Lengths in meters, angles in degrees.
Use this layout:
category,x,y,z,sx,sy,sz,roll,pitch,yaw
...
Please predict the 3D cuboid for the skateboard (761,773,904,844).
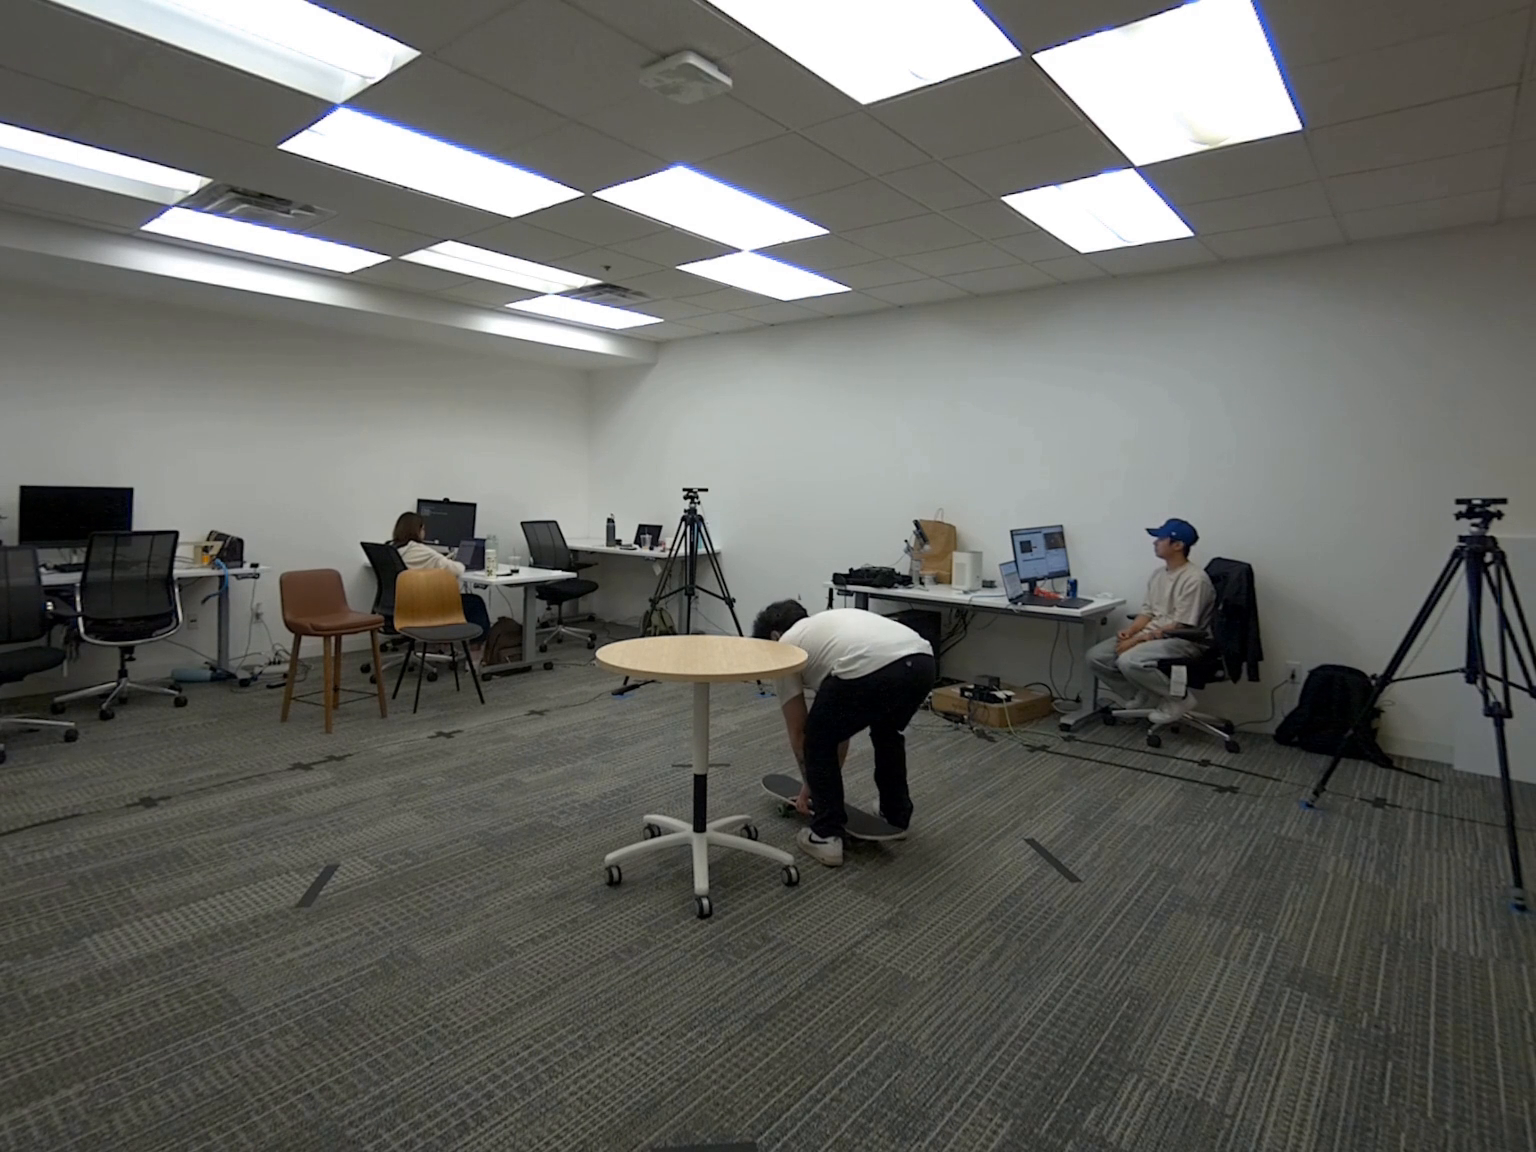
category,x,y,z,sx,sy,sz,roll,pitch,yaw
skateboard,0.236,0.986,3.526,0.188,0.110,0.811,-1,6,-35
